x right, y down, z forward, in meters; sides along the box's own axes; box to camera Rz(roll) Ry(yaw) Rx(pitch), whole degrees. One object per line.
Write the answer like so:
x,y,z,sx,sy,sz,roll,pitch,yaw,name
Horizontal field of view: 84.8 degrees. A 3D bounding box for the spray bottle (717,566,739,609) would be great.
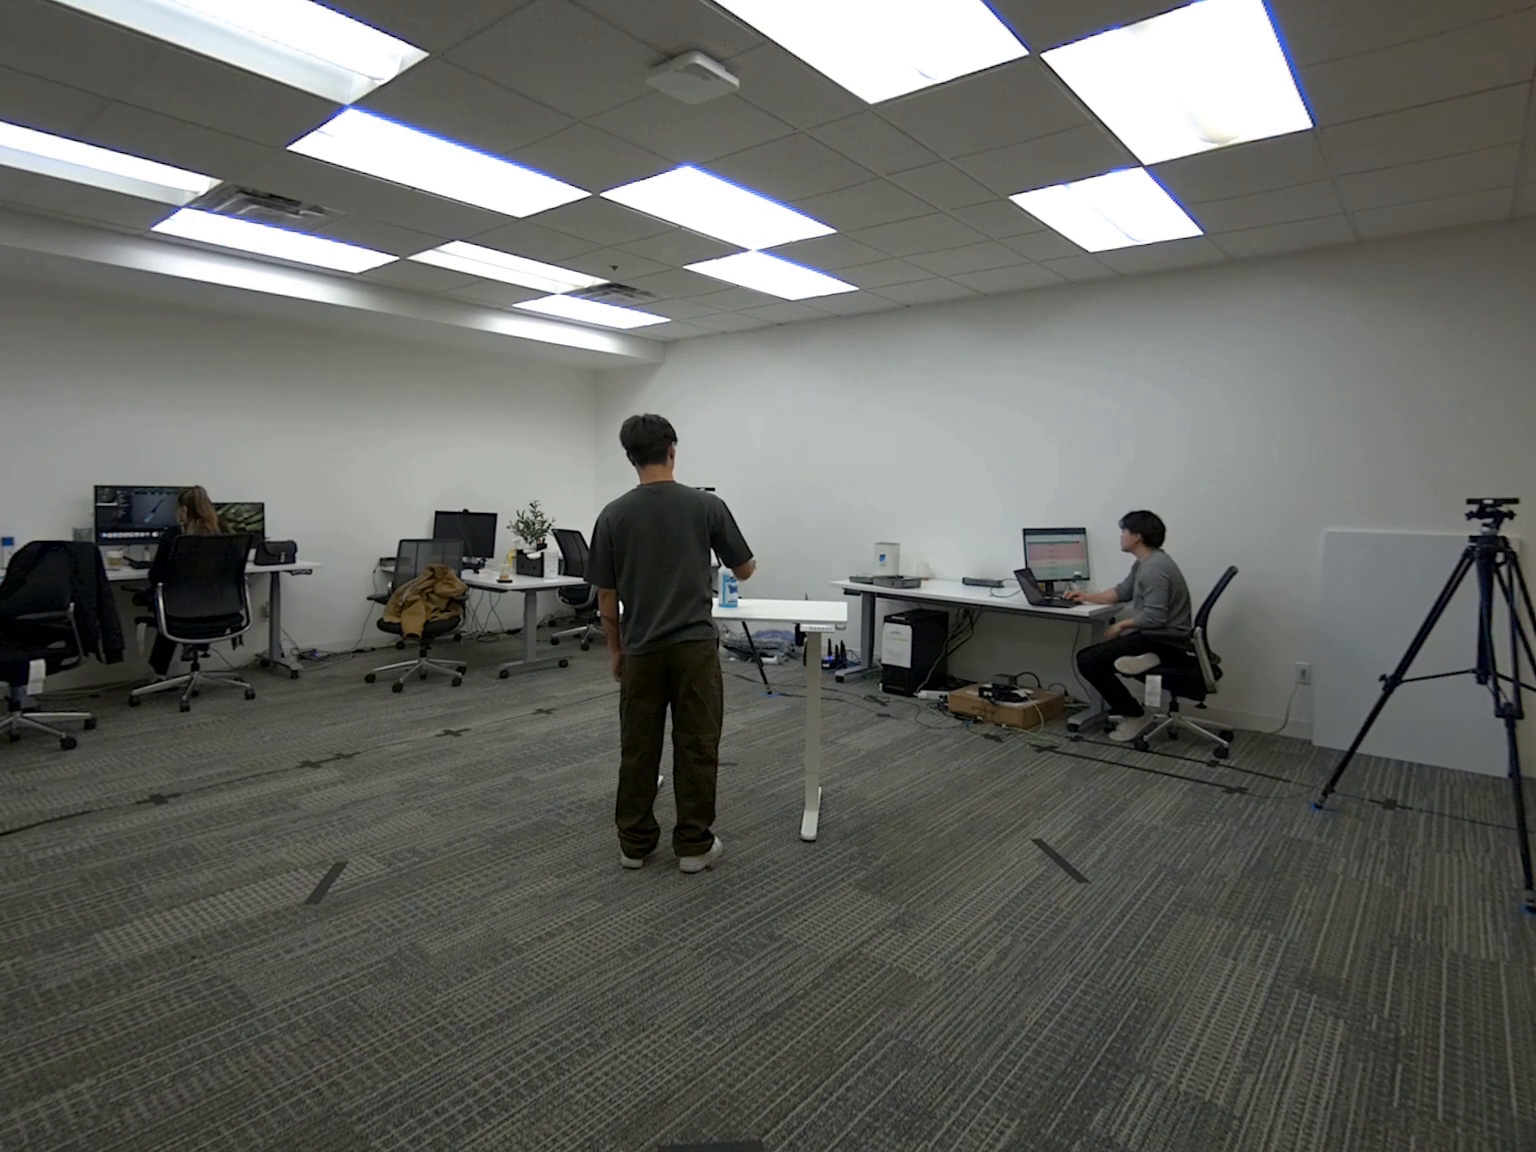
-0.184,-0.017,3.689,0.089,0.297,0.088,1,1,22,spray bottle
